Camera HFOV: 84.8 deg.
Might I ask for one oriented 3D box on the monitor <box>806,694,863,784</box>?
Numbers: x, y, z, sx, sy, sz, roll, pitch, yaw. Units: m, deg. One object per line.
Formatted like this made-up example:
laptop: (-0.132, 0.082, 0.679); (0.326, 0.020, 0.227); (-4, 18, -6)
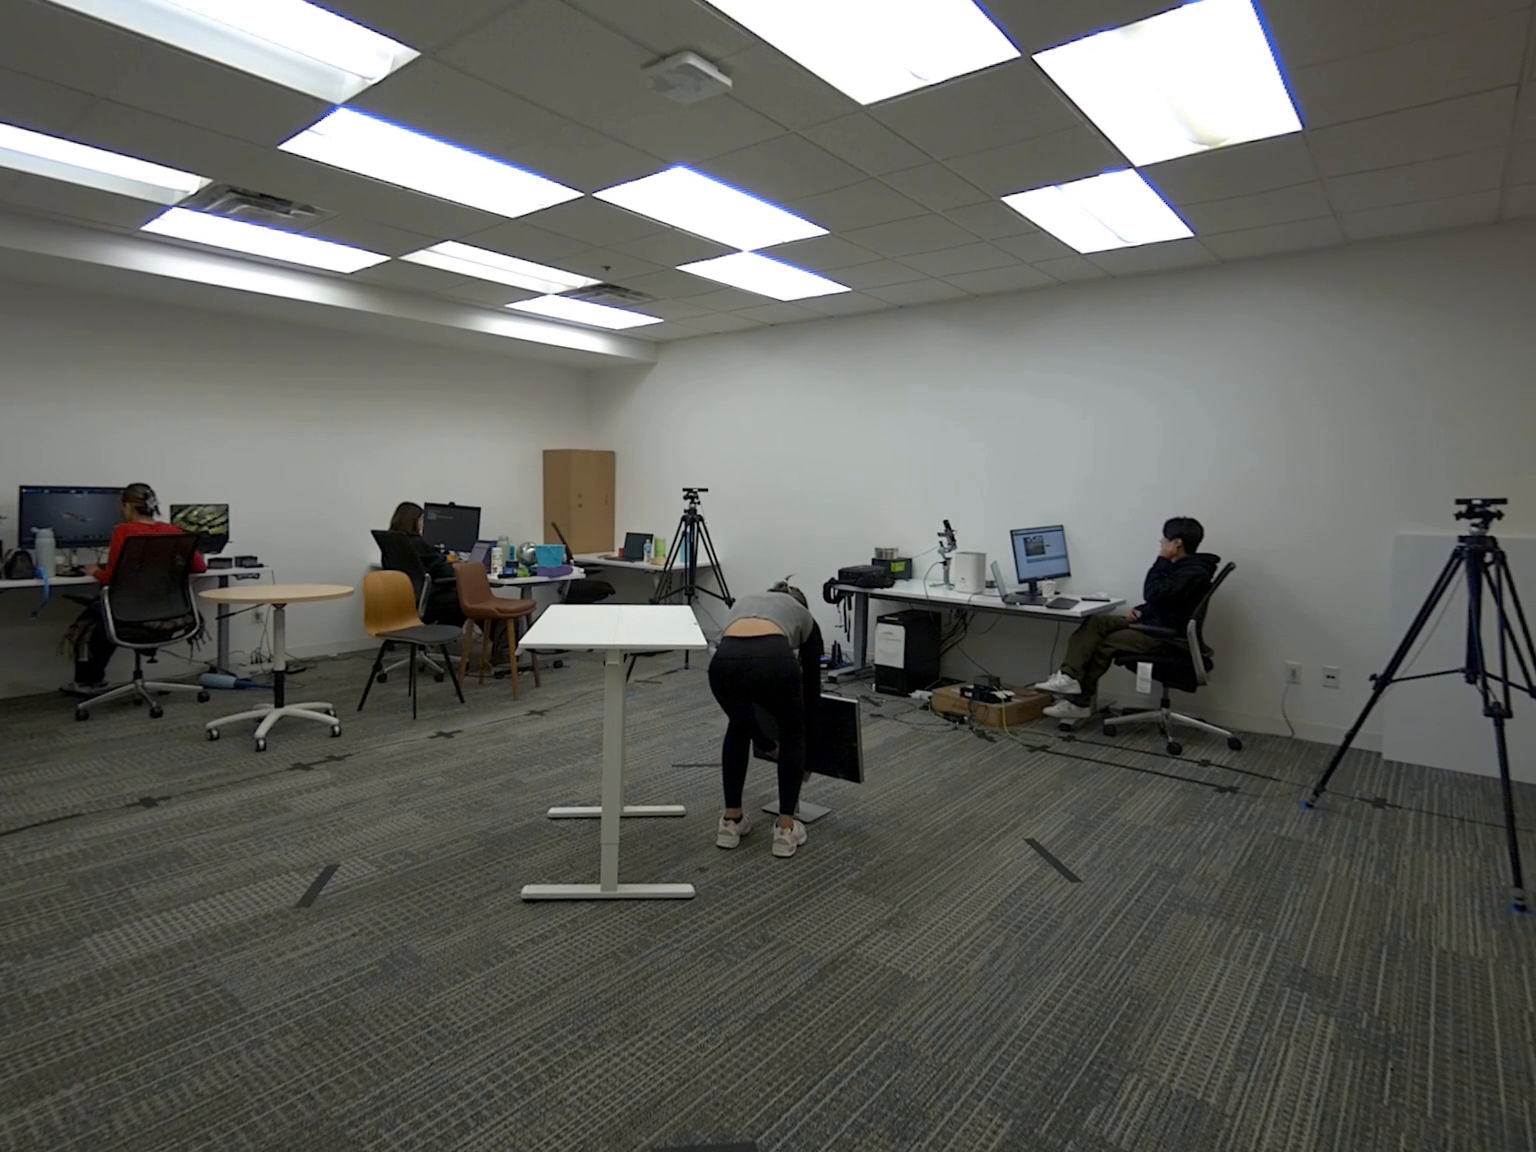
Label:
monitor: (0.120, 0.760, 3.684); (0.556, 0.522, 0.181); (4, 3, 34)
